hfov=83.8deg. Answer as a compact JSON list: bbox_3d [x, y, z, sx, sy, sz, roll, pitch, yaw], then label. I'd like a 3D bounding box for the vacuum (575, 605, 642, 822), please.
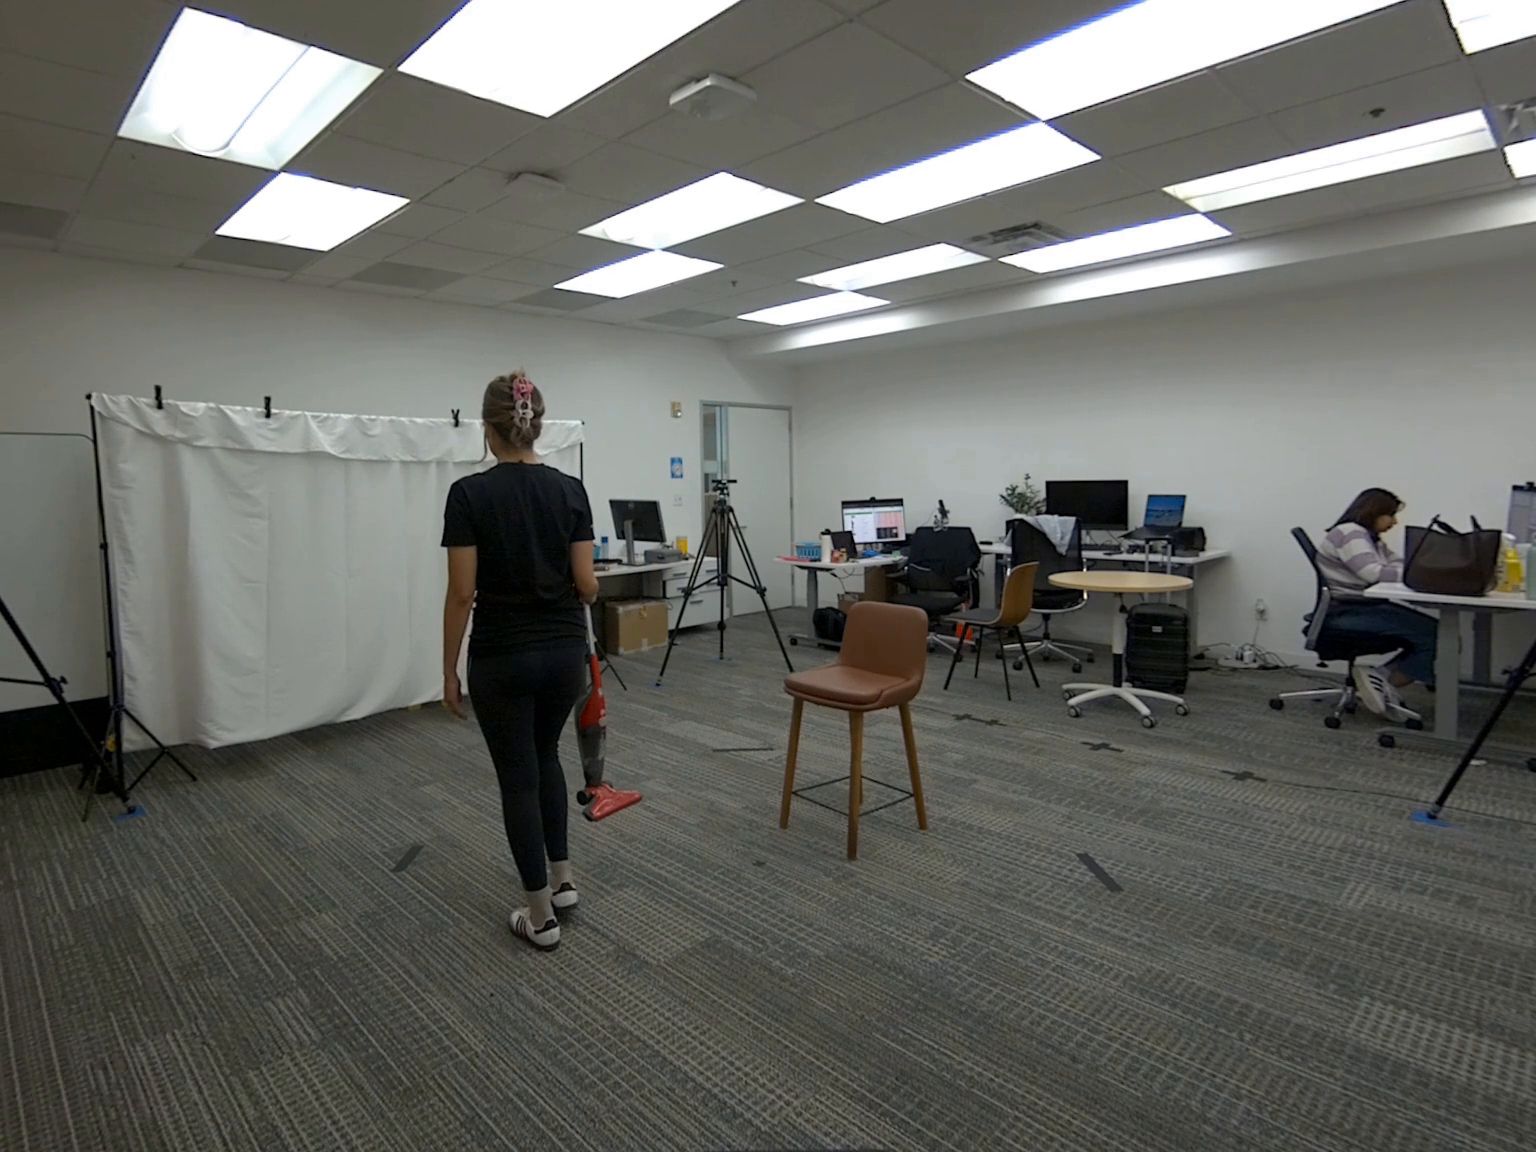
[{"bbox_3d":[-0.641,0.277,2.991,0.147,1.054,0.246,-13,-6,43],"label":"vacuum"}]
